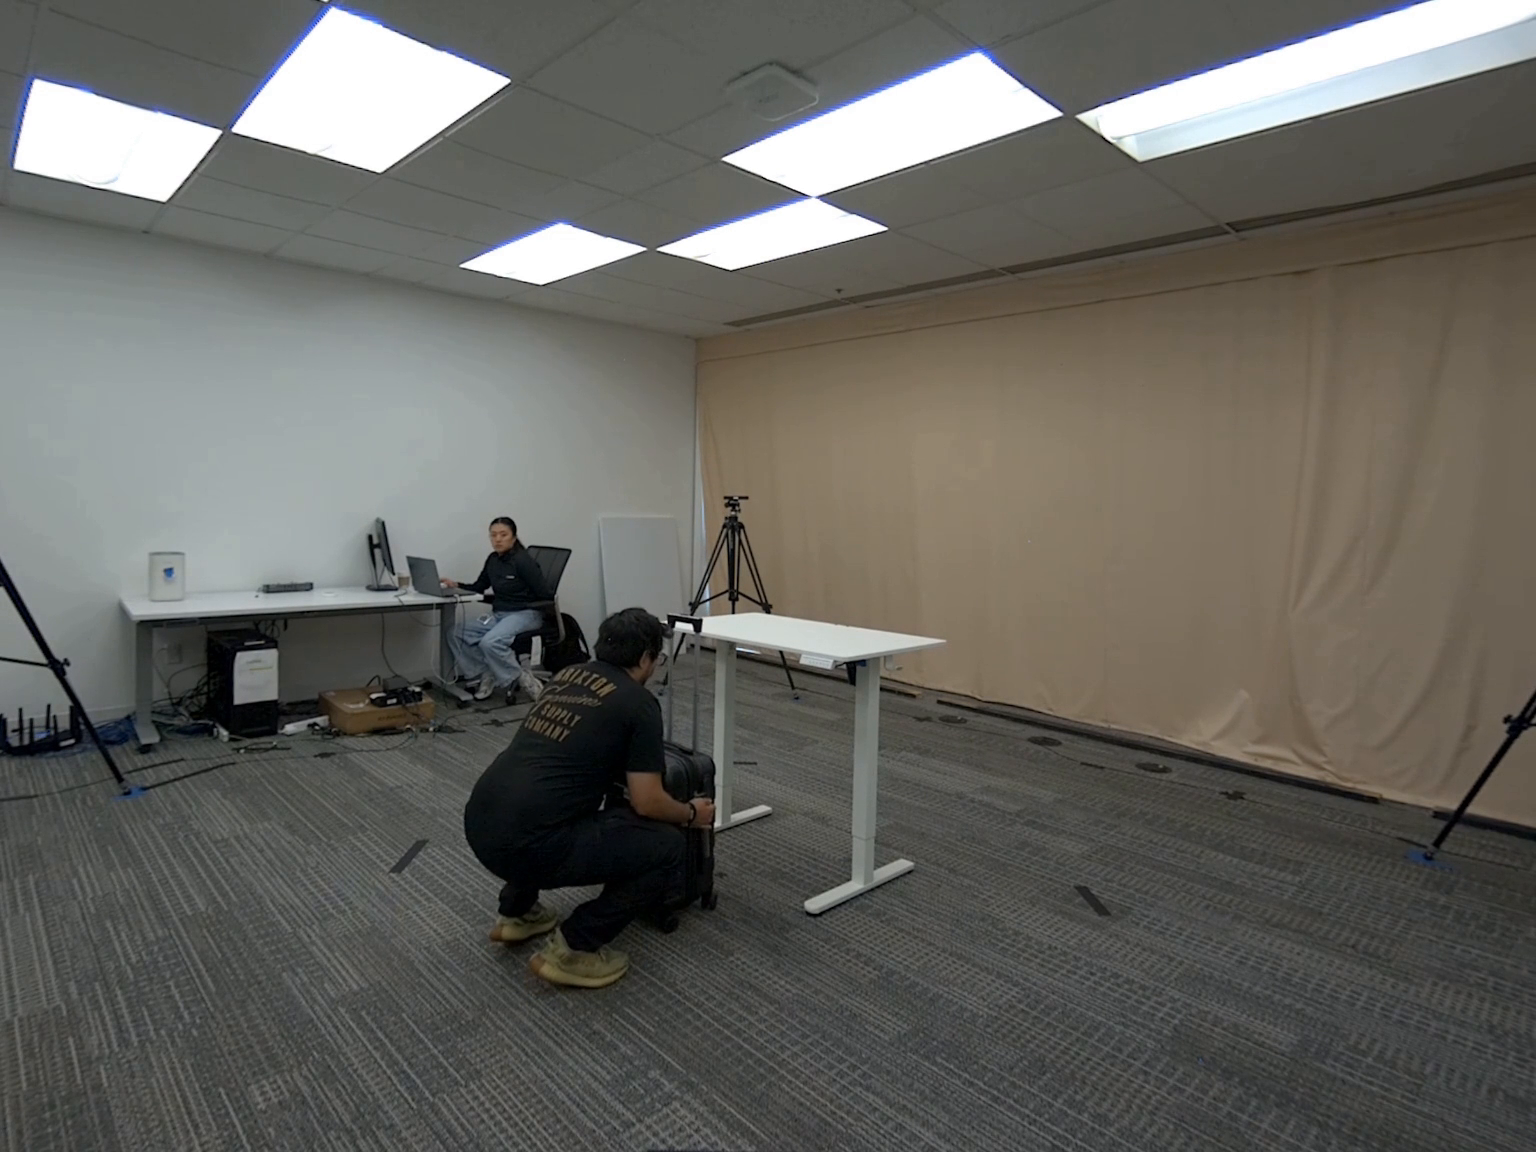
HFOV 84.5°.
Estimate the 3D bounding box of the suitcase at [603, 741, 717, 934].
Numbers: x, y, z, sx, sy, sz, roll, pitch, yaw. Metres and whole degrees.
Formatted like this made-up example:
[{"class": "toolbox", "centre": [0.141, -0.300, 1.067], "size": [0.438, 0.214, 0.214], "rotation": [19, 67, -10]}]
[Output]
[{"class": "suitcase", "centre": [-0.370, 0.645, 2.827], "size": [0.394, 0.975, 0.251], "rotation": [4, 6, 42]}]
